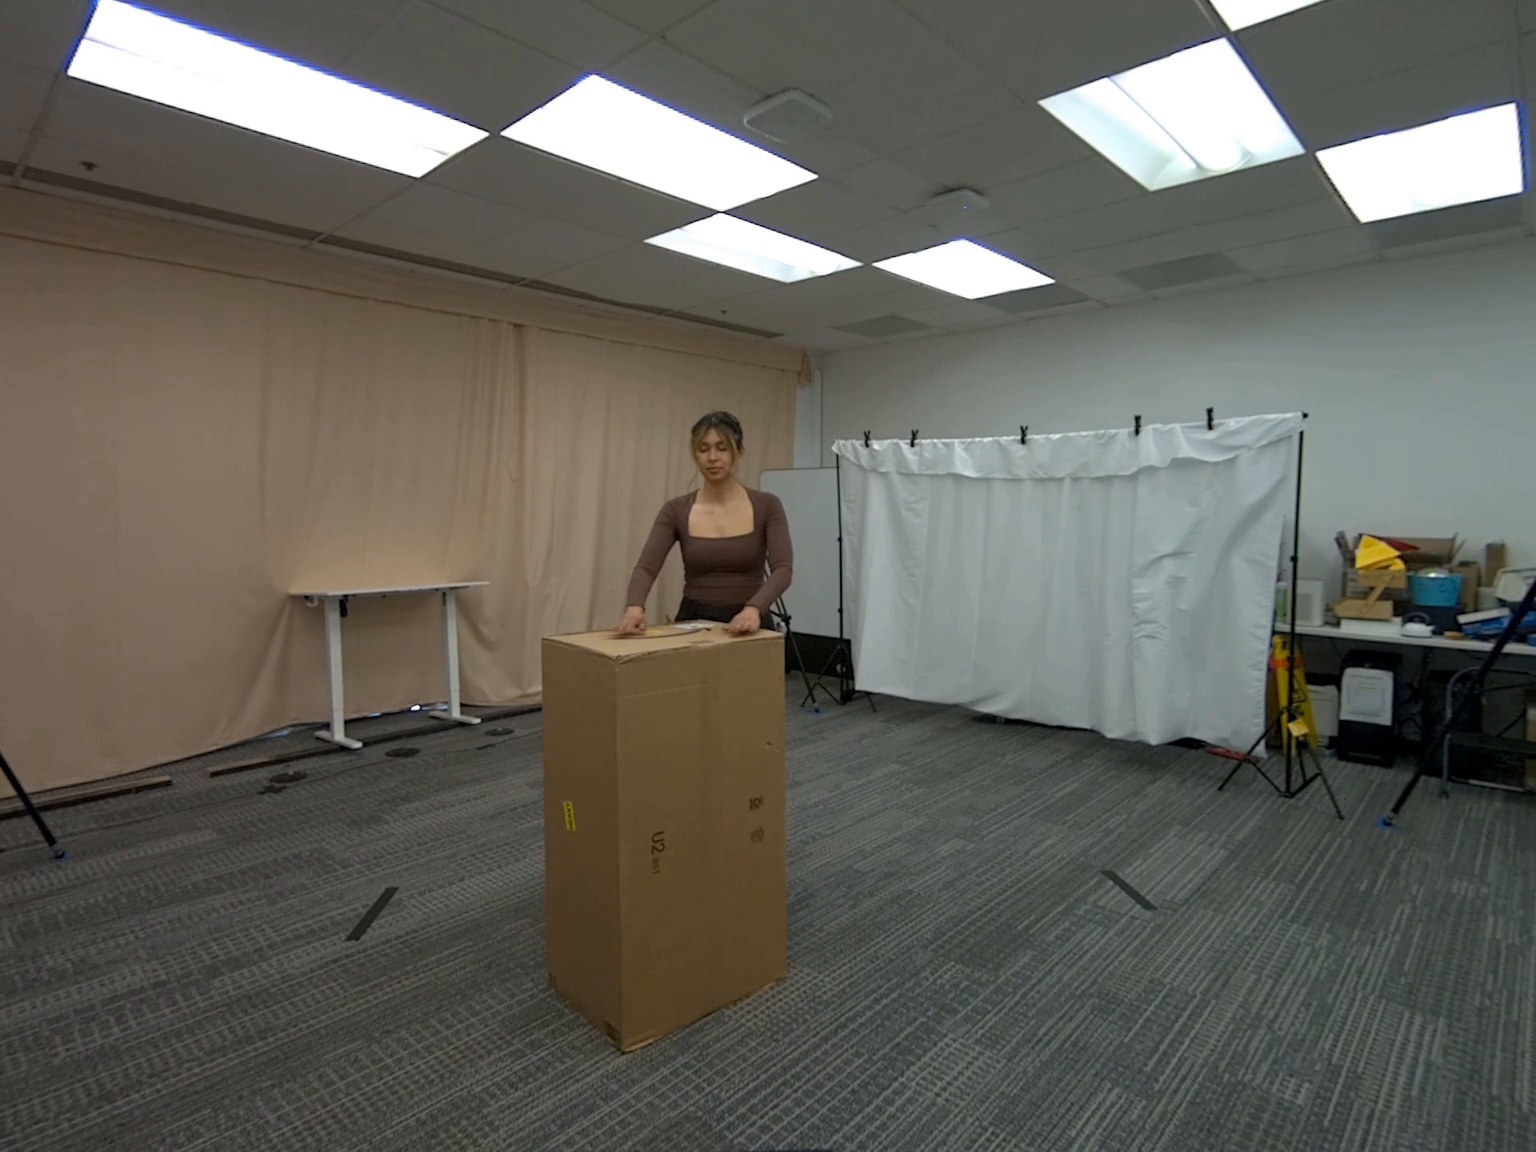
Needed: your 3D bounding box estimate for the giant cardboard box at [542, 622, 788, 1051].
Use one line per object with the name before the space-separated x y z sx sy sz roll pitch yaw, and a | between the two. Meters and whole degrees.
giant cardboard box | -0.300 0.680 2.451 0.566 1.025 0.461 -3 3 -38
